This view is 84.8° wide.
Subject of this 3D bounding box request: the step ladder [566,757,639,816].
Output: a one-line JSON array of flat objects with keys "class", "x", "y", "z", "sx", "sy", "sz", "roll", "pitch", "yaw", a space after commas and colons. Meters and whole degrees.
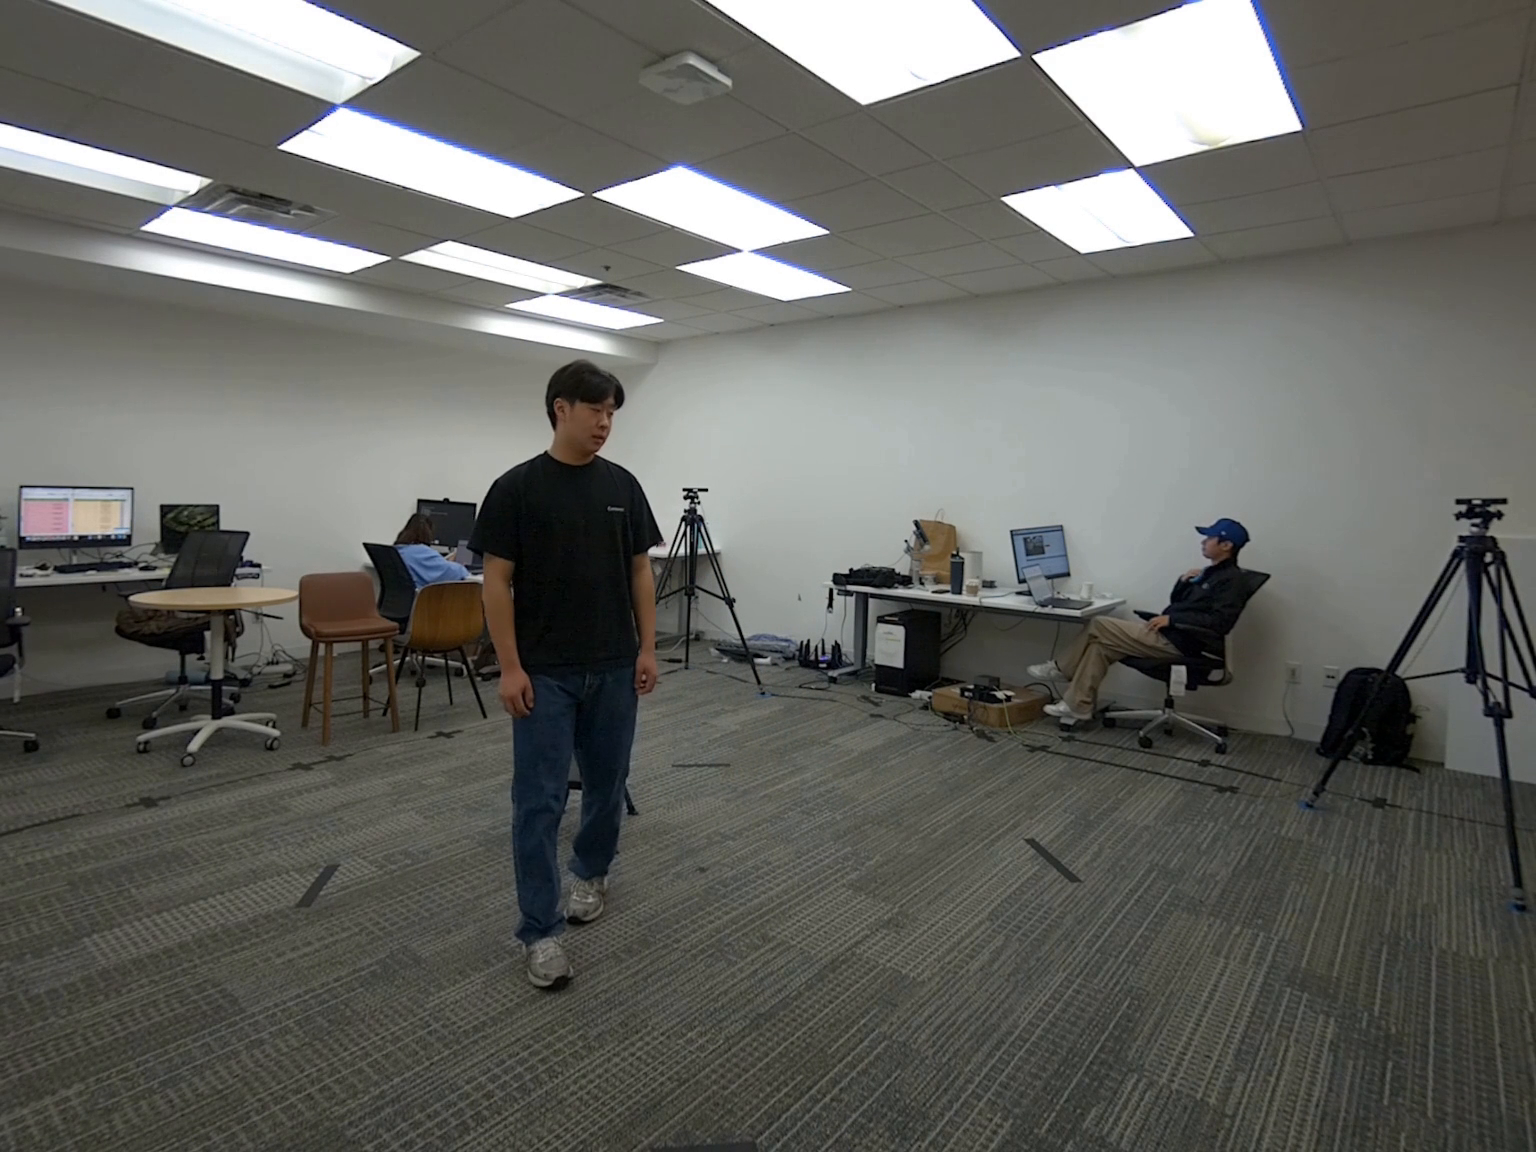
[{"class": "step ladder", "x": -0.739, "y": 0.724, "z": 3.437, "sx": 0.350, "sy": 0.605, "sz": 0.430, "roll": 2, "pitch": 3, "yaw": 2}]
